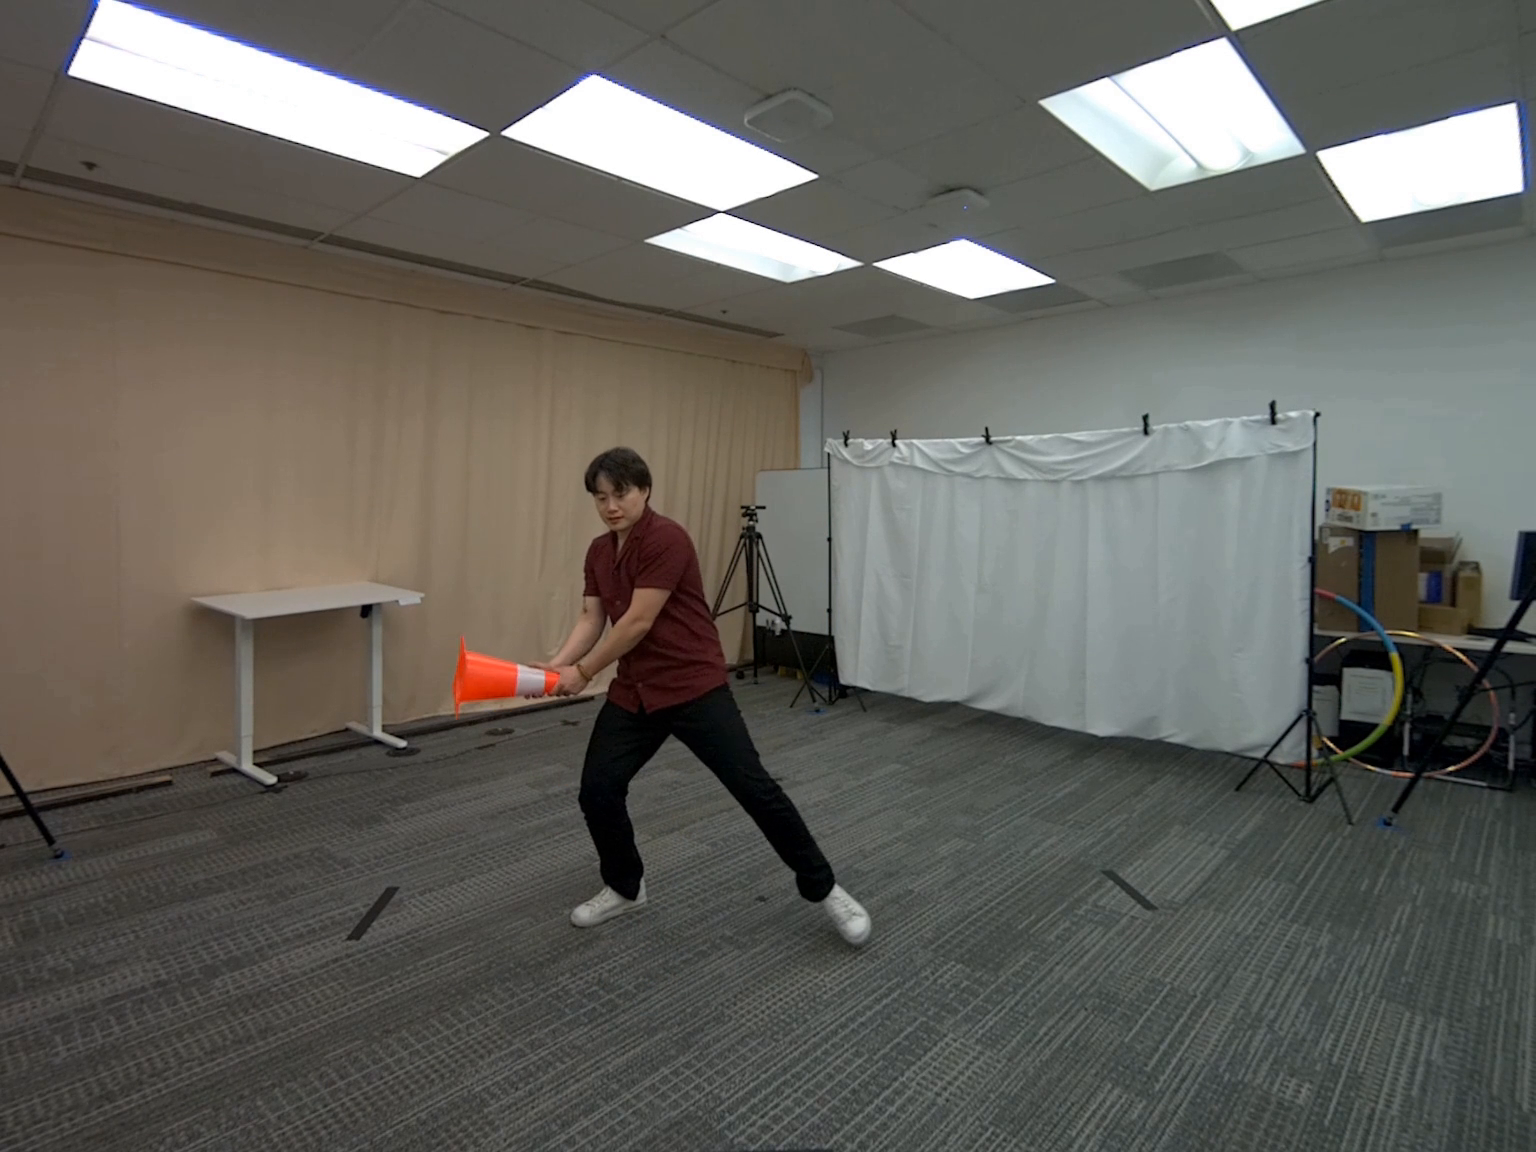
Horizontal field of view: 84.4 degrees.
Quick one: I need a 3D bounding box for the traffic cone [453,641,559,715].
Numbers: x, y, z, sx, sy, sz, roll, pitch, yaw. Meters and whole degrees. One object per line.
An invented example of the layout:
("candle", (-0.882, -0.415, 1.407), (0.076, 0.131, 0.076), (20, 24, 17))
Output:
("traffic cone", (-0.758, 0.330, 2.642), (0.374, 0.204, 0.209), (7, 21, -24))
